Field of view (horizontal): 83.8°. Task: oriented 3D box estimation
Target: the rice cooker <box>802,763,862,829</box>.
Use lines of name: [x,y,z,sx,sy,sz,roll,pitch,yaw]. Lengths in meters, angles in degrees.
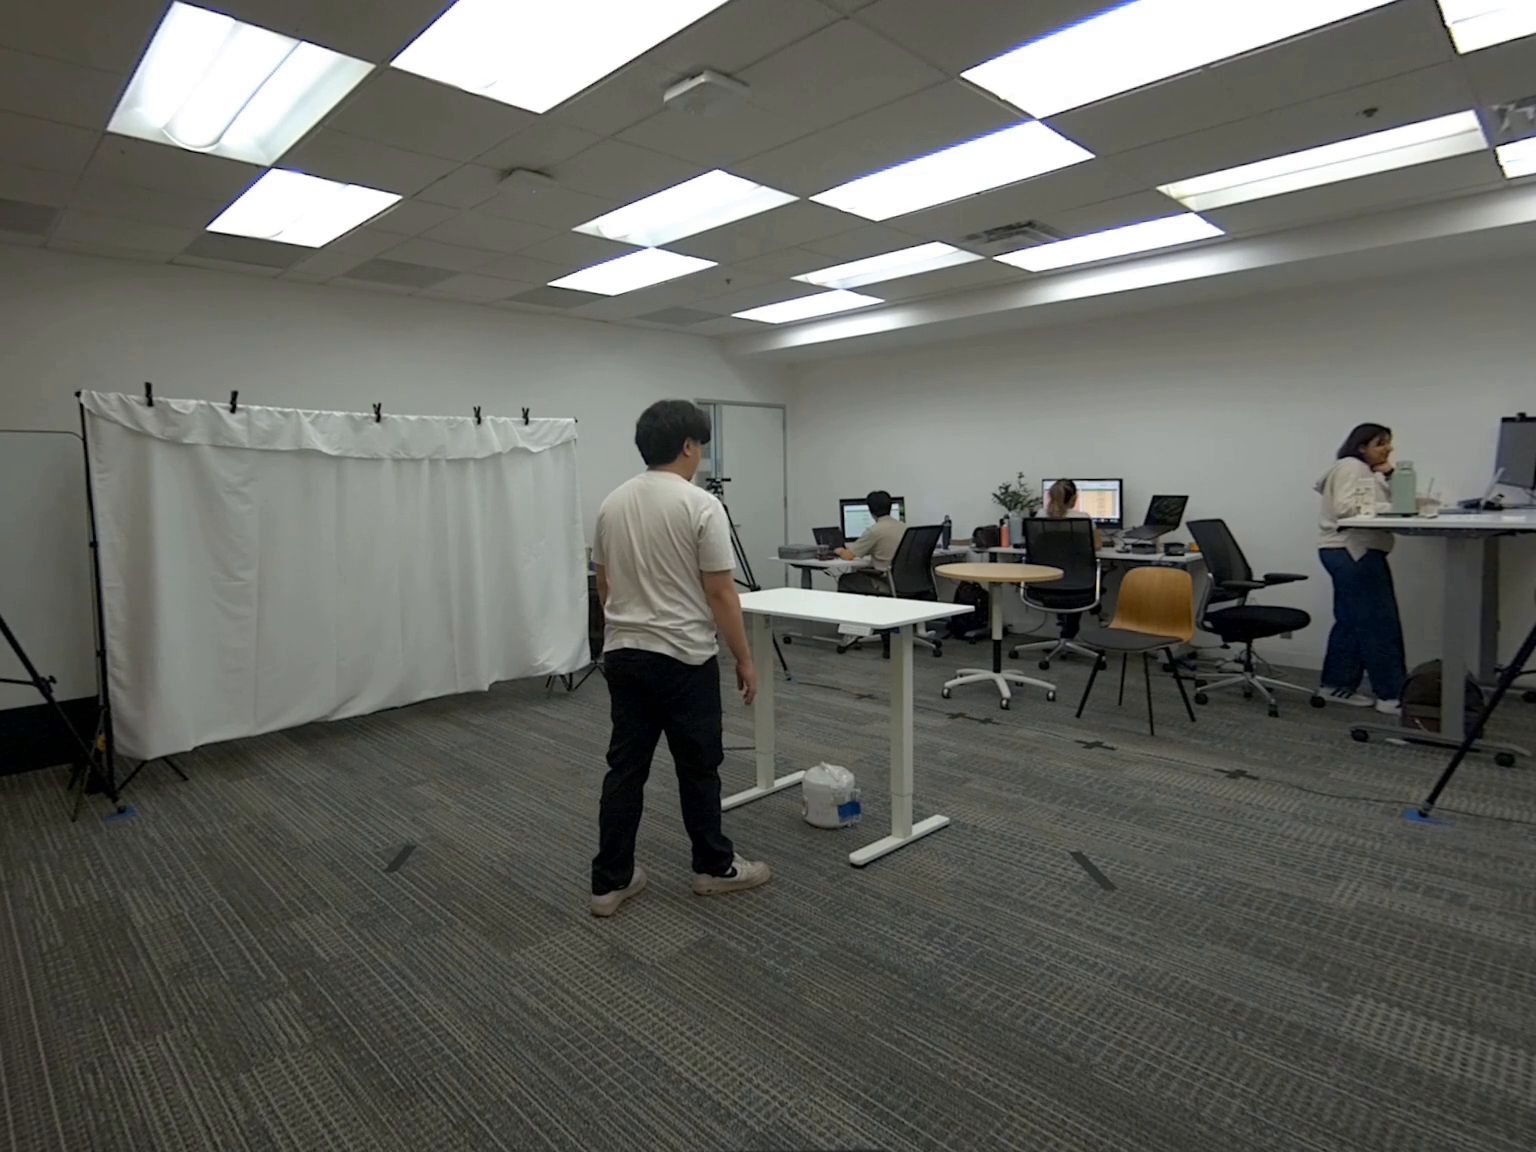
rice cooker: [0.245,0.881,3.464,0.214,0.232,0.225,-2,5,-16]
